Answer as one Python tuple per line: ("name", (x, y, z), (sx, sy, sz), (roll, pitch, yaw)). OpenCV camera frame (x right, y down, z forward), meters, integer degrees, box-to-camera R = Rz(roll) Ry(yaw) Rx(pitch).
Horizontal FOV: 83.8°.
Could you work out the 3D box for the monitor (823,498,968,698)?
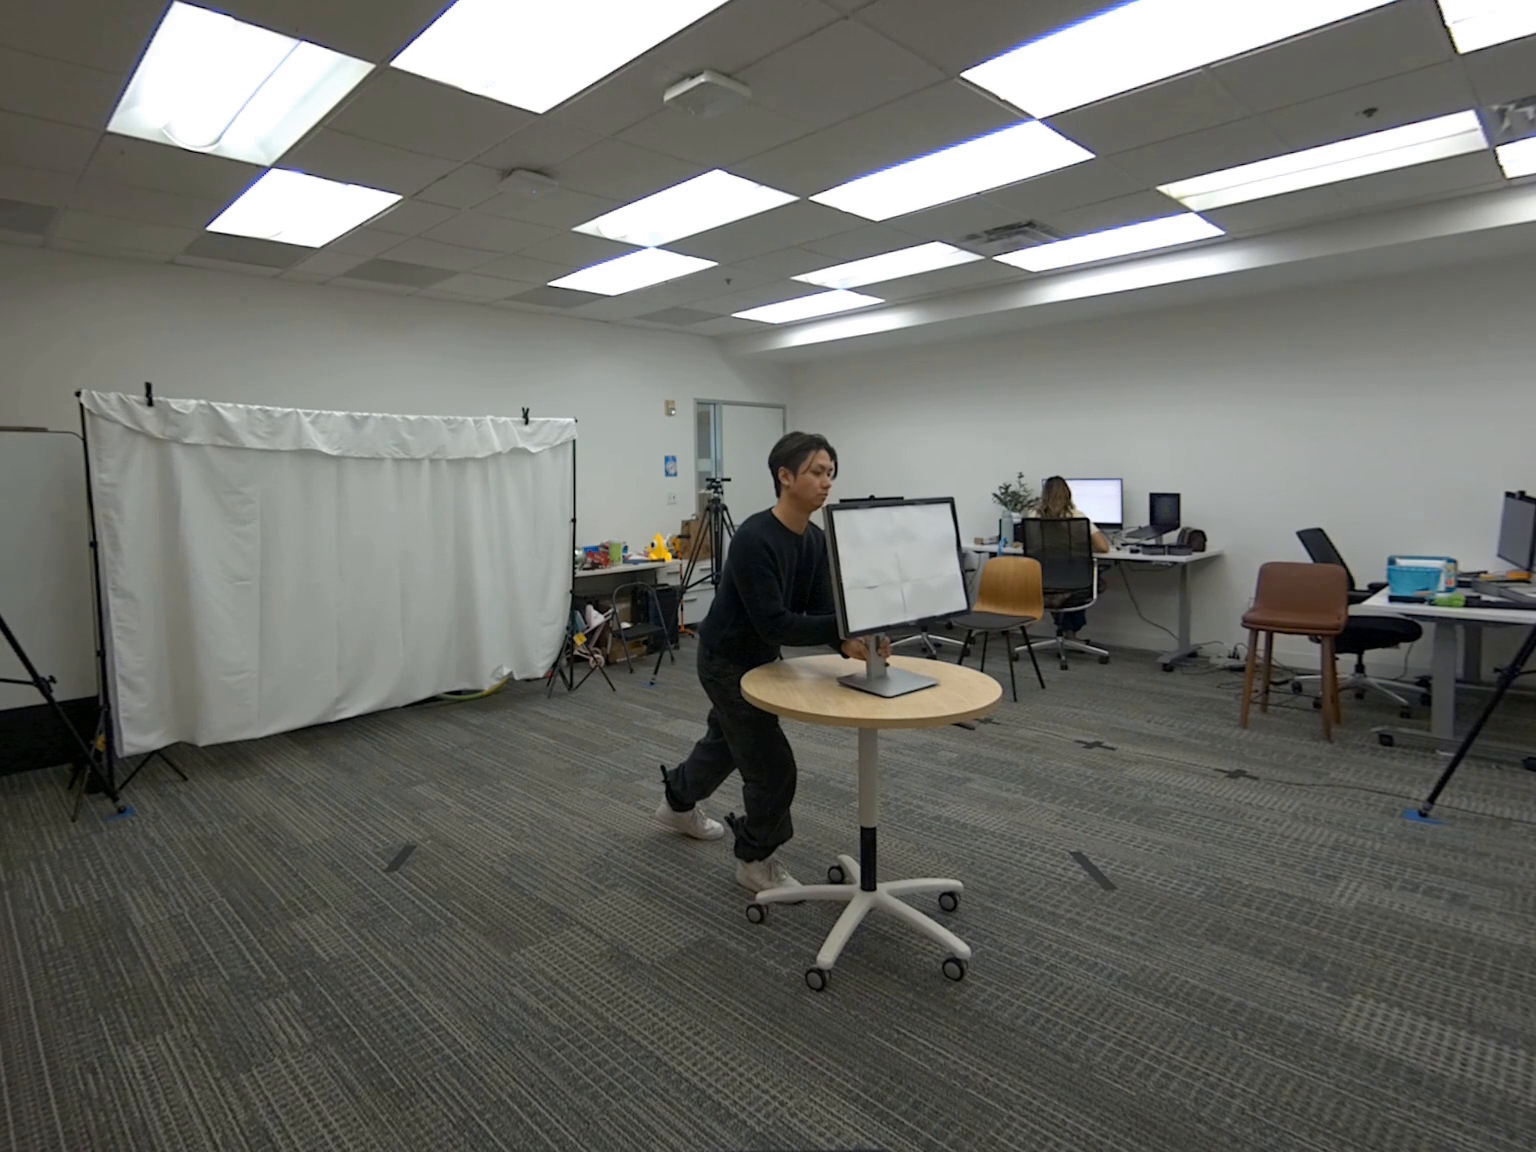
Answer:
("monitor", (0.364, 0.049, 2.487), (0.516, 0.512, 0.181), (-4, 12, -42))
